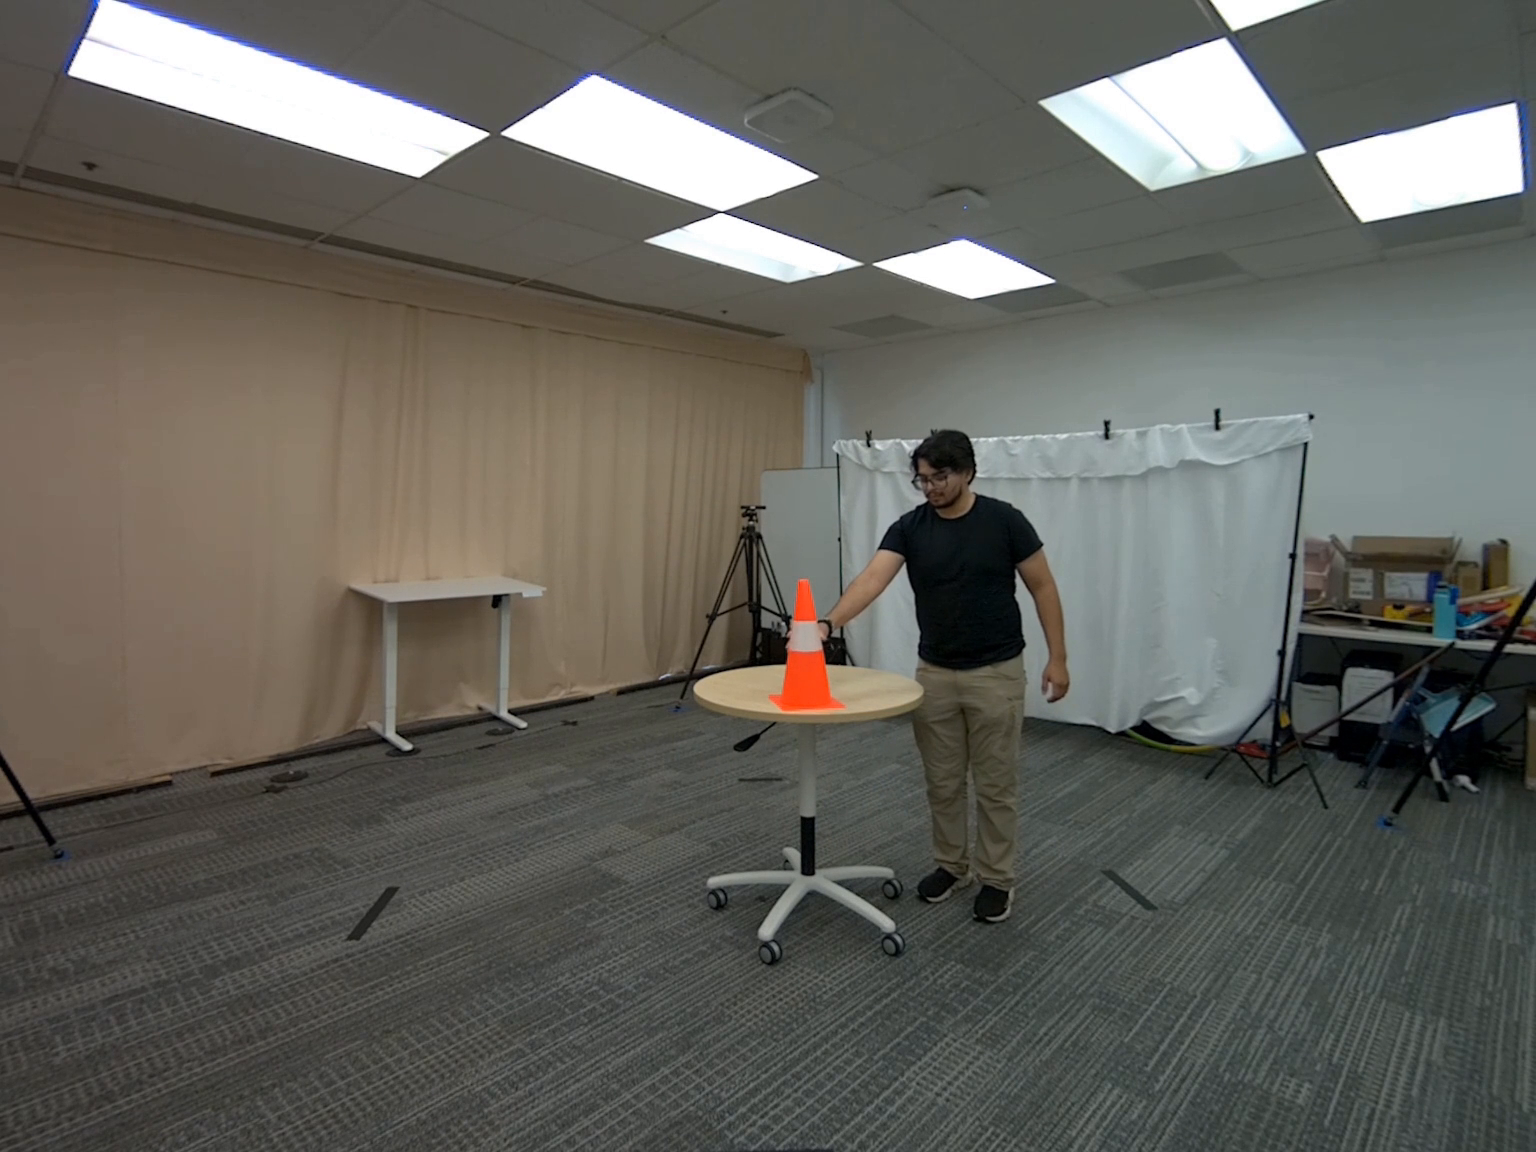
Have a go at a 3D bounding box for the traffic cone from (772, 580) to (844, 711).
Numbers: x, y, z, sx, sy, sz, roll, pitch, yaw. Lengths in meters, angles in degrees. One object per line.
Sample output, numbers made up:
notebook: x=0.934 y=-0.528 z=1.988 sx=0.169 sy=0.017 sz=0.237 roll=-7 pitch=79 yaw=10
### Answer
traffic cone: x=0.124 y=0.208 z=2.596 sx=0.200 sy=0.383 sz=0.209 roll=-1 pitch=2 yaw=-16
